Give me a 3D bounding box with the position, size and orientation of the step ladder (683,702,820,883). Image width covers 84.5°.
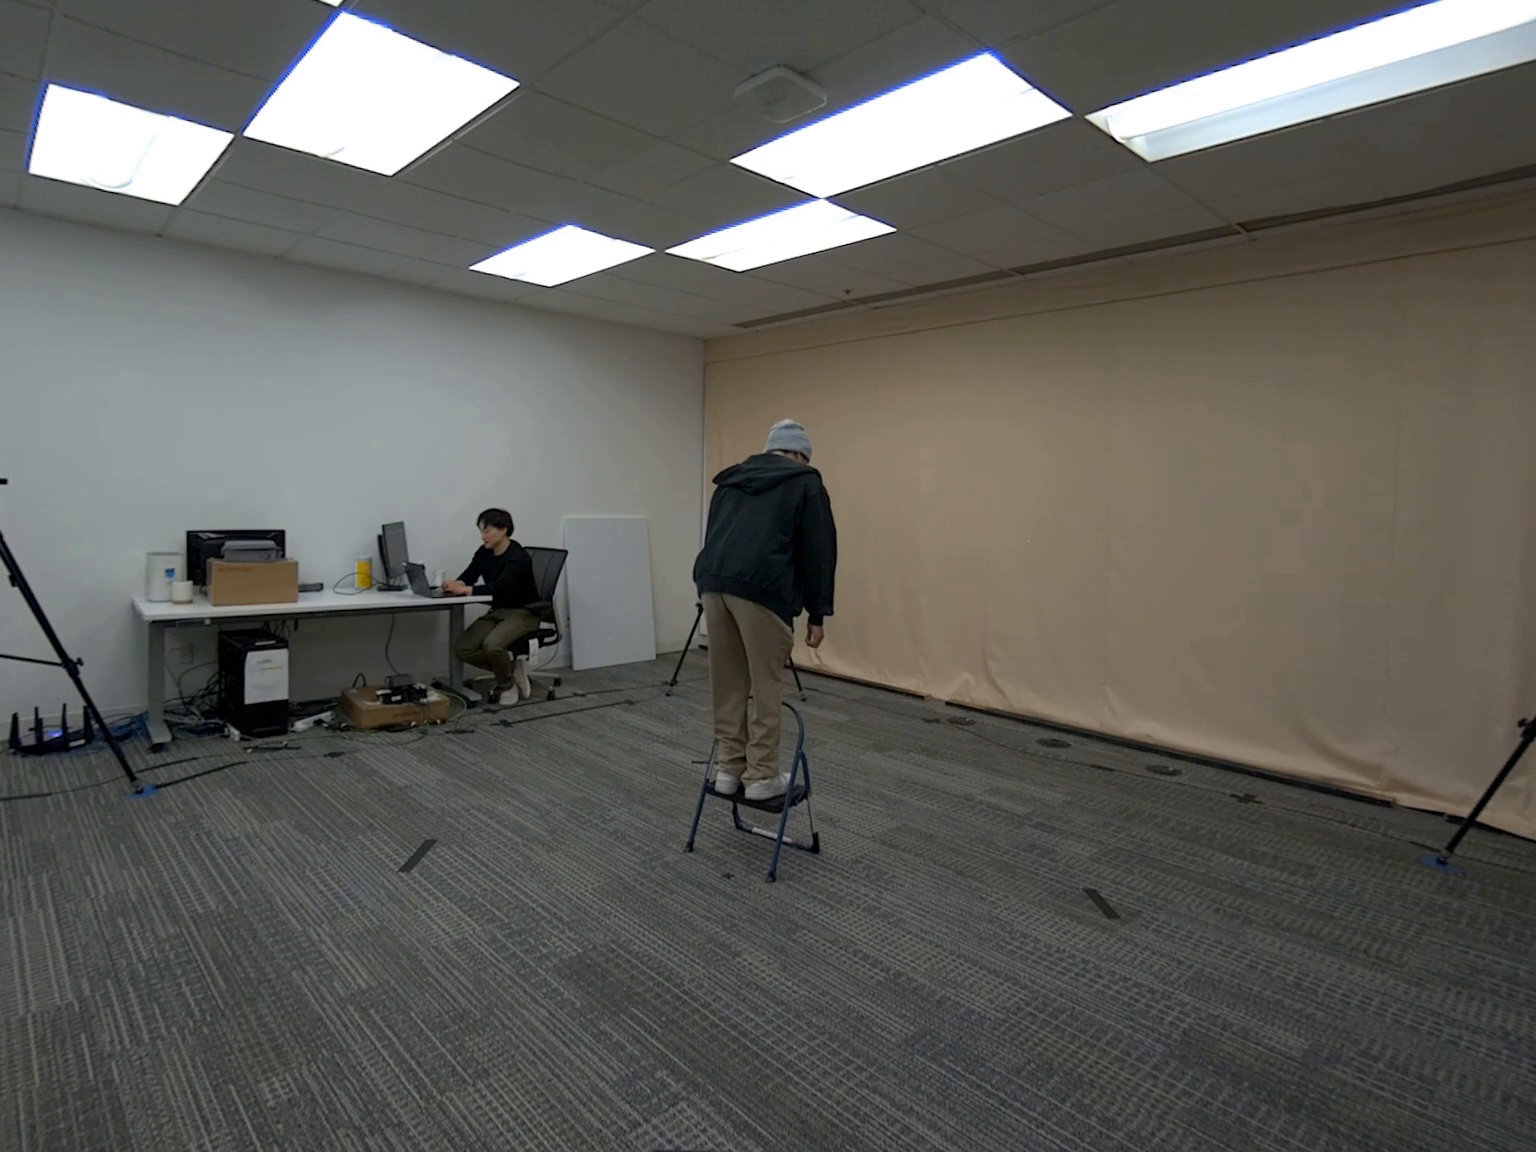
[{"bbox_3d":[-0.054,0.789,3.307,0.441,0.605,0.341,4,3,36],"label":"step ladder"}]
